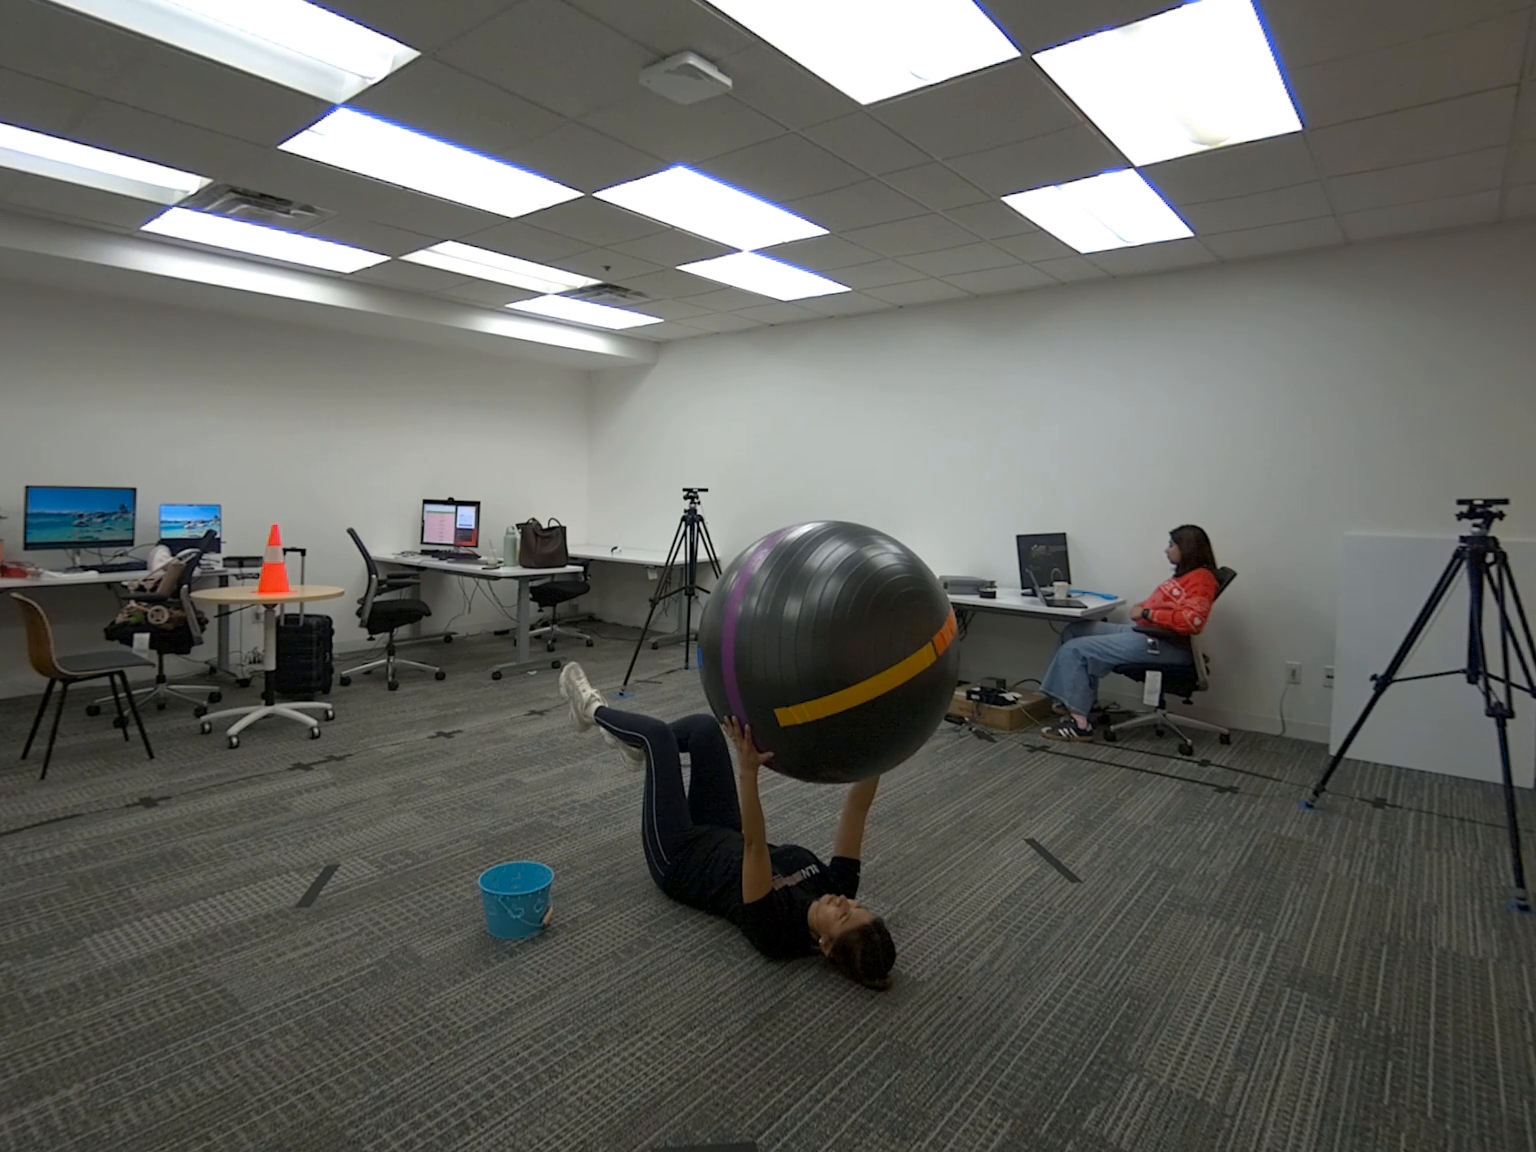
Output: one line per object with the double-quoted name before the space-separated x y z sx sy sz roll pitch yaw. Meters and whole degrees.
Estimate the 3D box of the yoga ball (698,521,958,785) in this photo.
"yoga ball" 0.166 0.216 2.486 0.757 0.756 0.761 -3 3 -2
